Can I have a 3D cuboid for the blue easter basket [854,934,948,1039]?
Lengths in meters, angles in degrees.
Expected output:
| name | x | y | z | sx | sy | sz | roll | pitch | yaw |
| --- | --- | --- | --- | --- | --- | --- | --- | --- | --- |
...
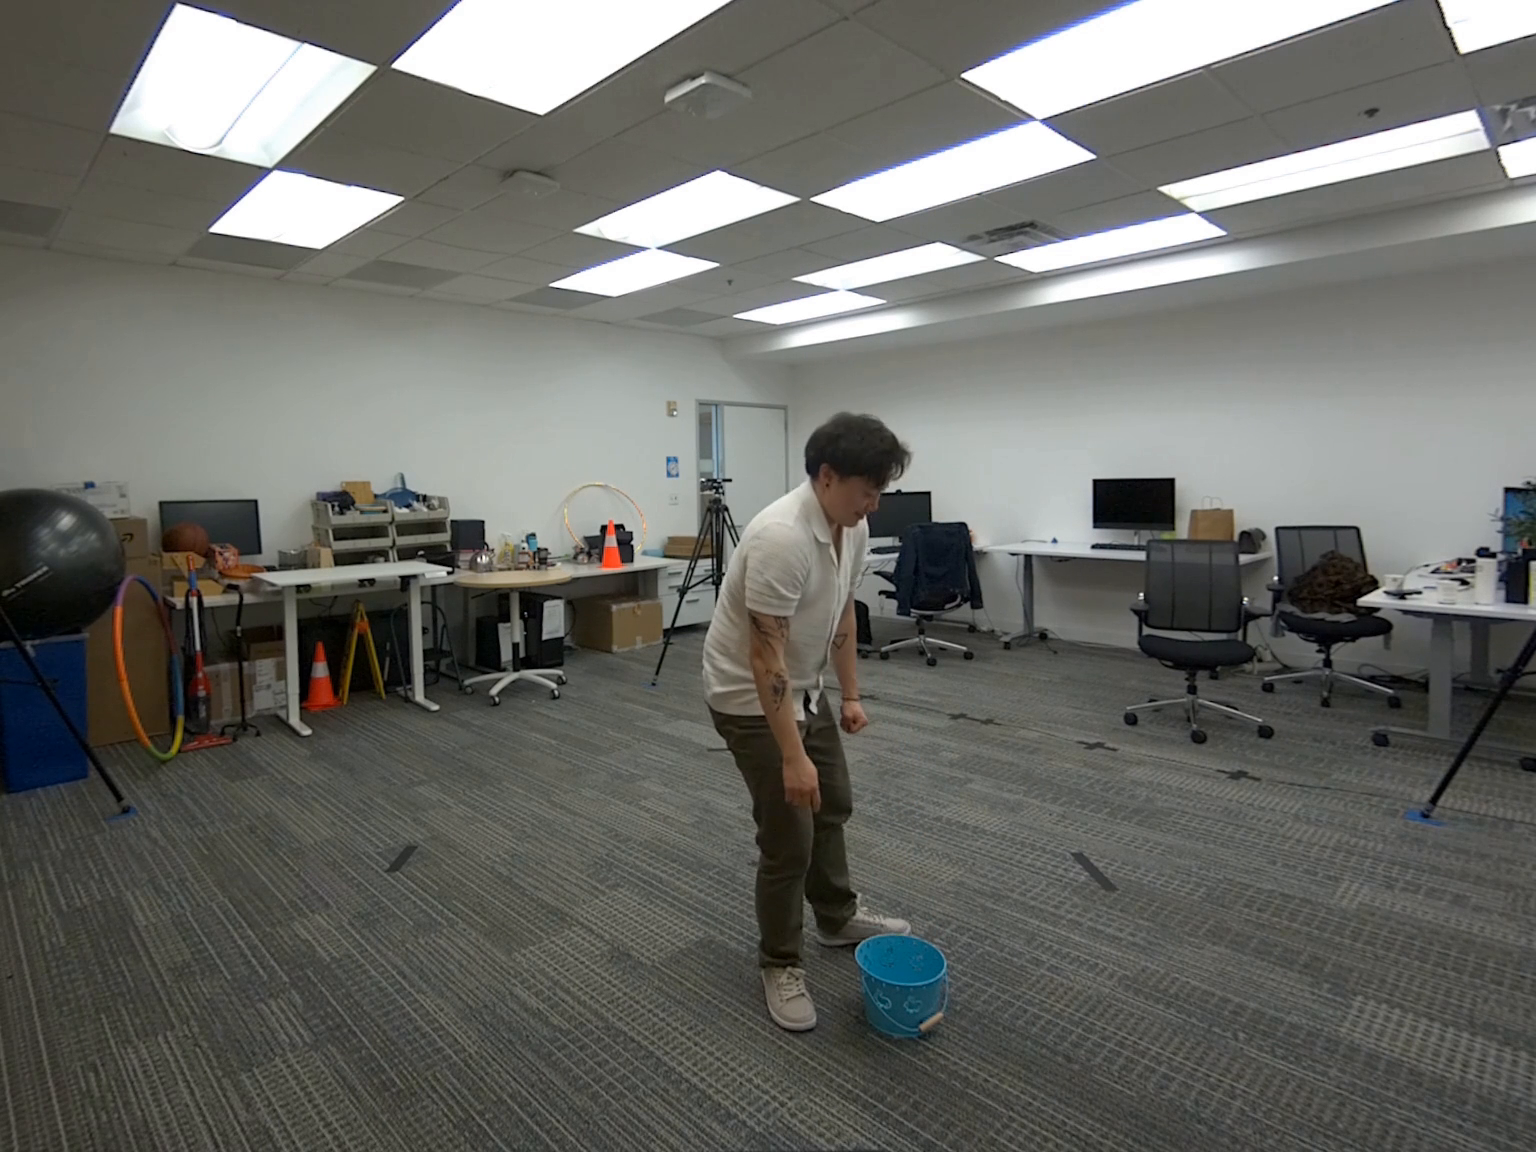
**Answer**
| name | x | y | z | sx | sy | sz | roll | pitch | yaw |
| --- | --- | --- | --- | --- | --- | --- | --- | --- | --- |
| blue easter basket | 0.343 | 1.062 | 2.214 | 0.243 | 0.155 | 0.245 | -1 | 6 | -2 |
